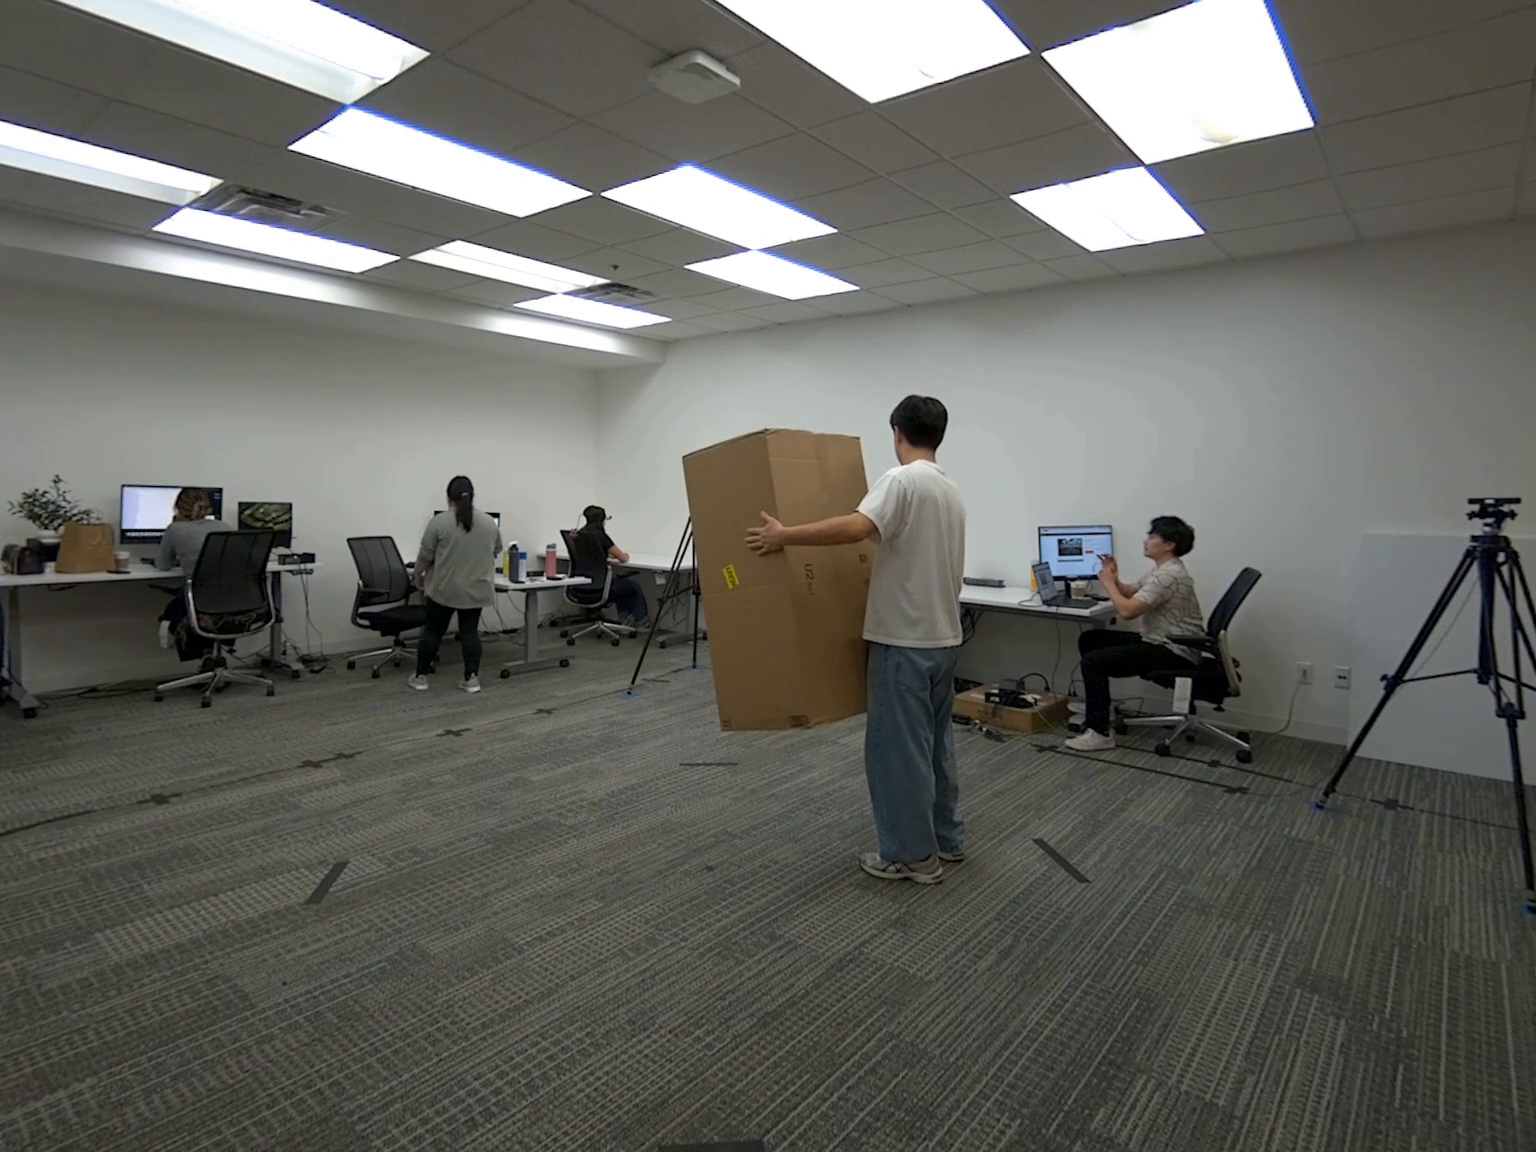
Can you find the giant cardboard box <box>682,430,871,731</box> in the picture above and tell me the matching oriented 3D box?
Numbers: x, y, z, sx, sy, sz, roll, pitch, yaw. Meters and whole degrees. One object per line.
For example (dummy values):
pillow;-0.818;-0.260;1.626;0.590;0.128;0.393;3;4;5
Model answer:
giant cardboard box;0.077;0.009;3.196;0.437;1.032;0.560;-13;-6;41
